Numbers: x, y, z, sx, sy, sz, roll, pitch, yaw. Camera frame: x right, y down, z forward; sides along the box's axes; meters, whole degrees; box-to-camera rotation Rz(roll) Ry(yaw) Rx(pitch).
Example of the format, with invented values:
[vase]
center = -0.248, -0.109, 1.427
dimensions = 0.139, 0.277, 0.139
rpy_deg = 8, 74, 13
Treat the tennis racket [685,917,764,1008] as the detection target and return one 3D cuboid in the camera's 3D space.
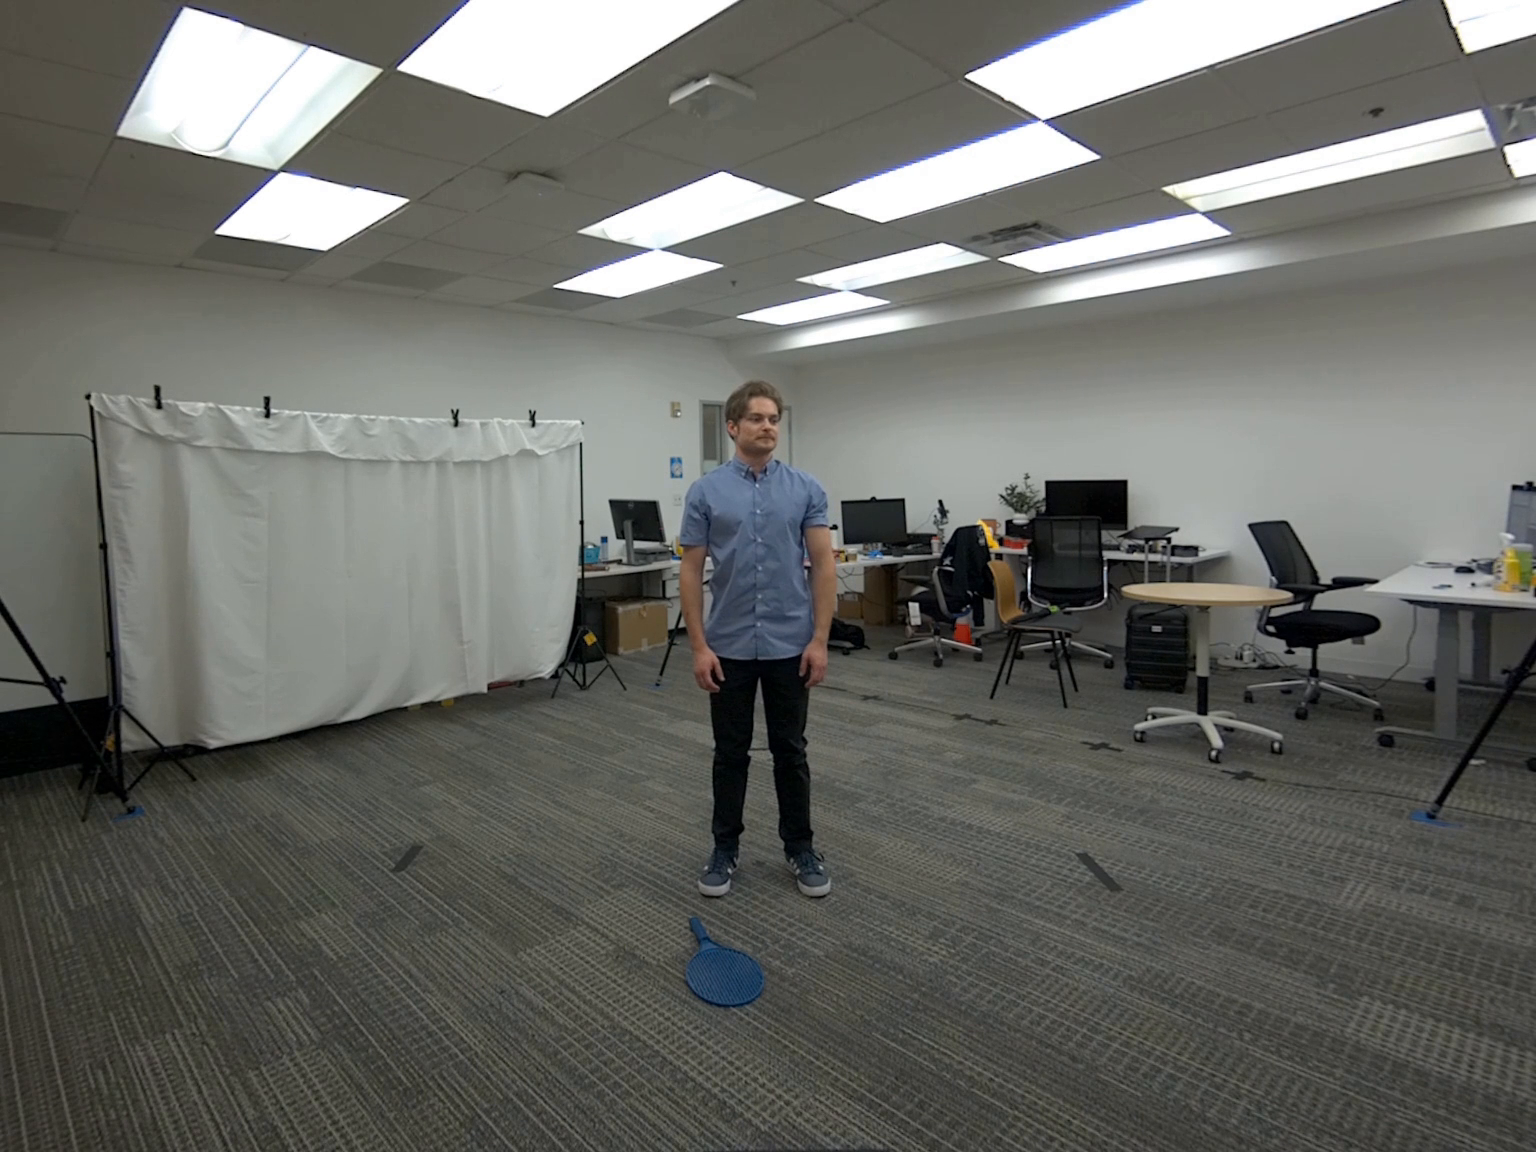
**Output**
[tennis racket]
center = -0.150, 1.109, 2.478
dimensions = 0.210, 0.031, 0.443
rpy_deg = -4, 9, -22
